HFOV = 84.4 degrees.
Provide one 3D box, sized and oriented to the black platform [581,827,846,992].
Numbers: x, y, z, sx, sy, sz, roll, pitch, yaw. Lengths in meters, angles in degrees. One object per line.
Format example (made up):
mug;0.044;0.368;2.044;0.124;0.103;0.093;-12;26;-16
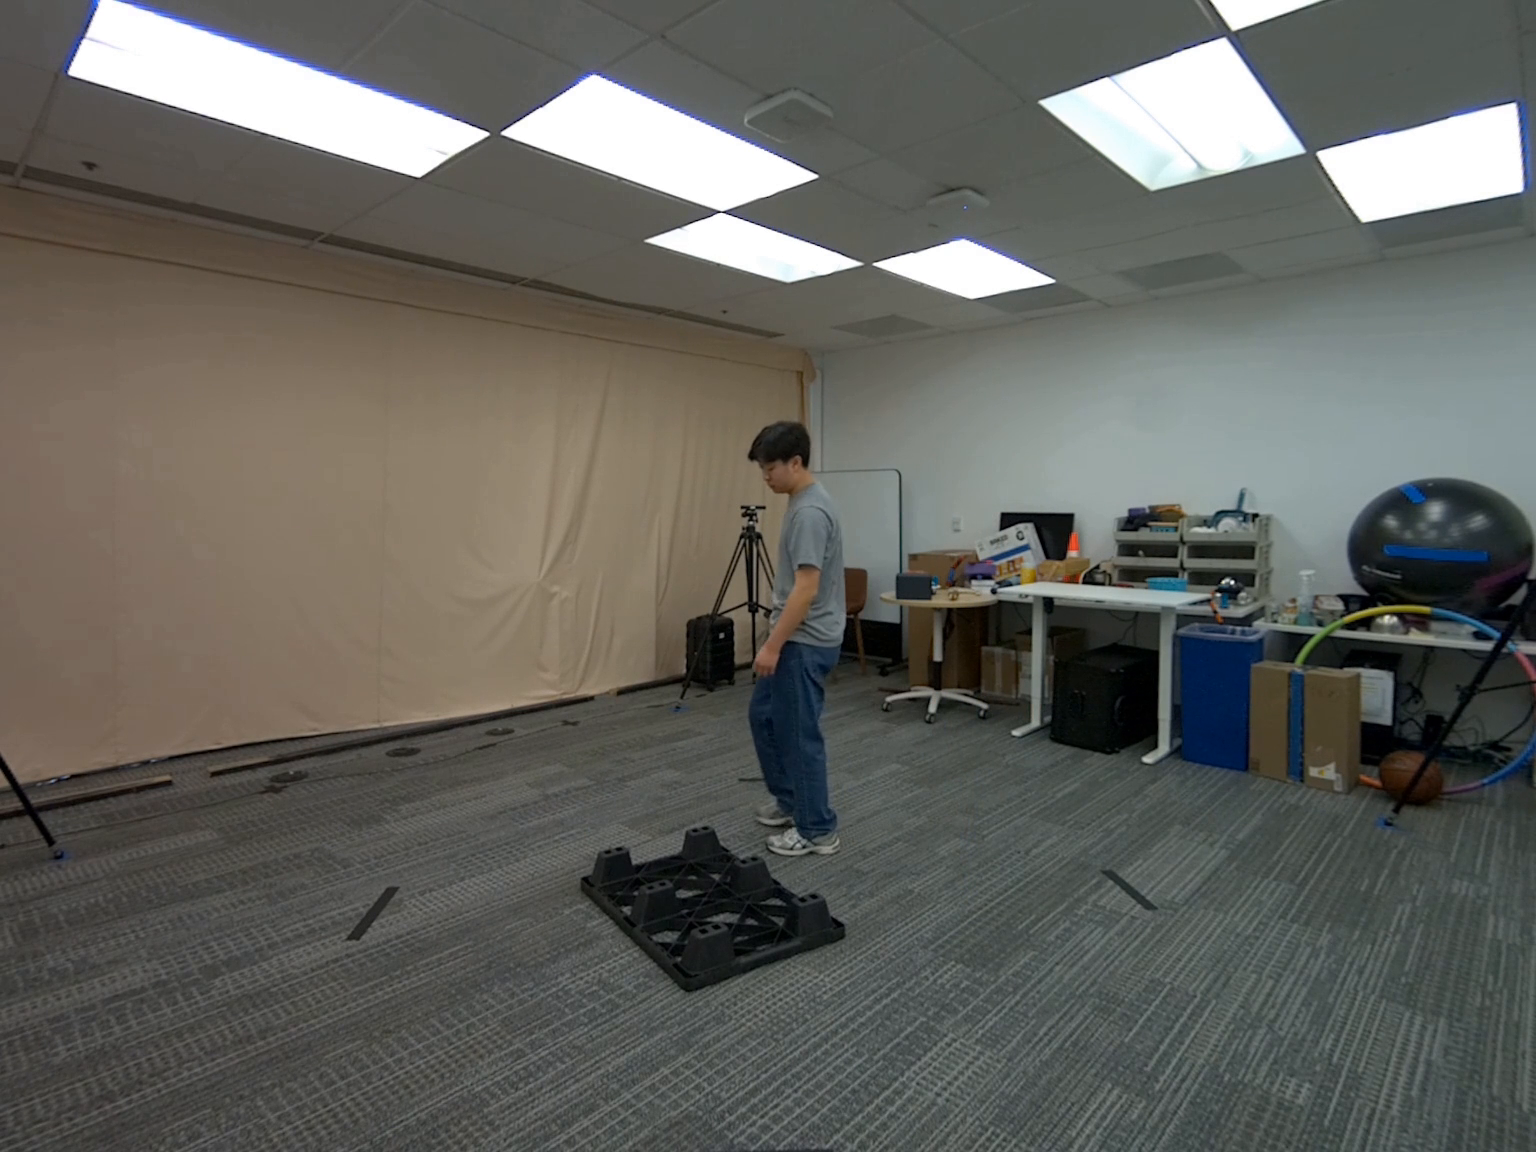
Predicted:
black platform;-0.212;1.088;2.886;0.588;0.143;0.831;-4;6;-34
